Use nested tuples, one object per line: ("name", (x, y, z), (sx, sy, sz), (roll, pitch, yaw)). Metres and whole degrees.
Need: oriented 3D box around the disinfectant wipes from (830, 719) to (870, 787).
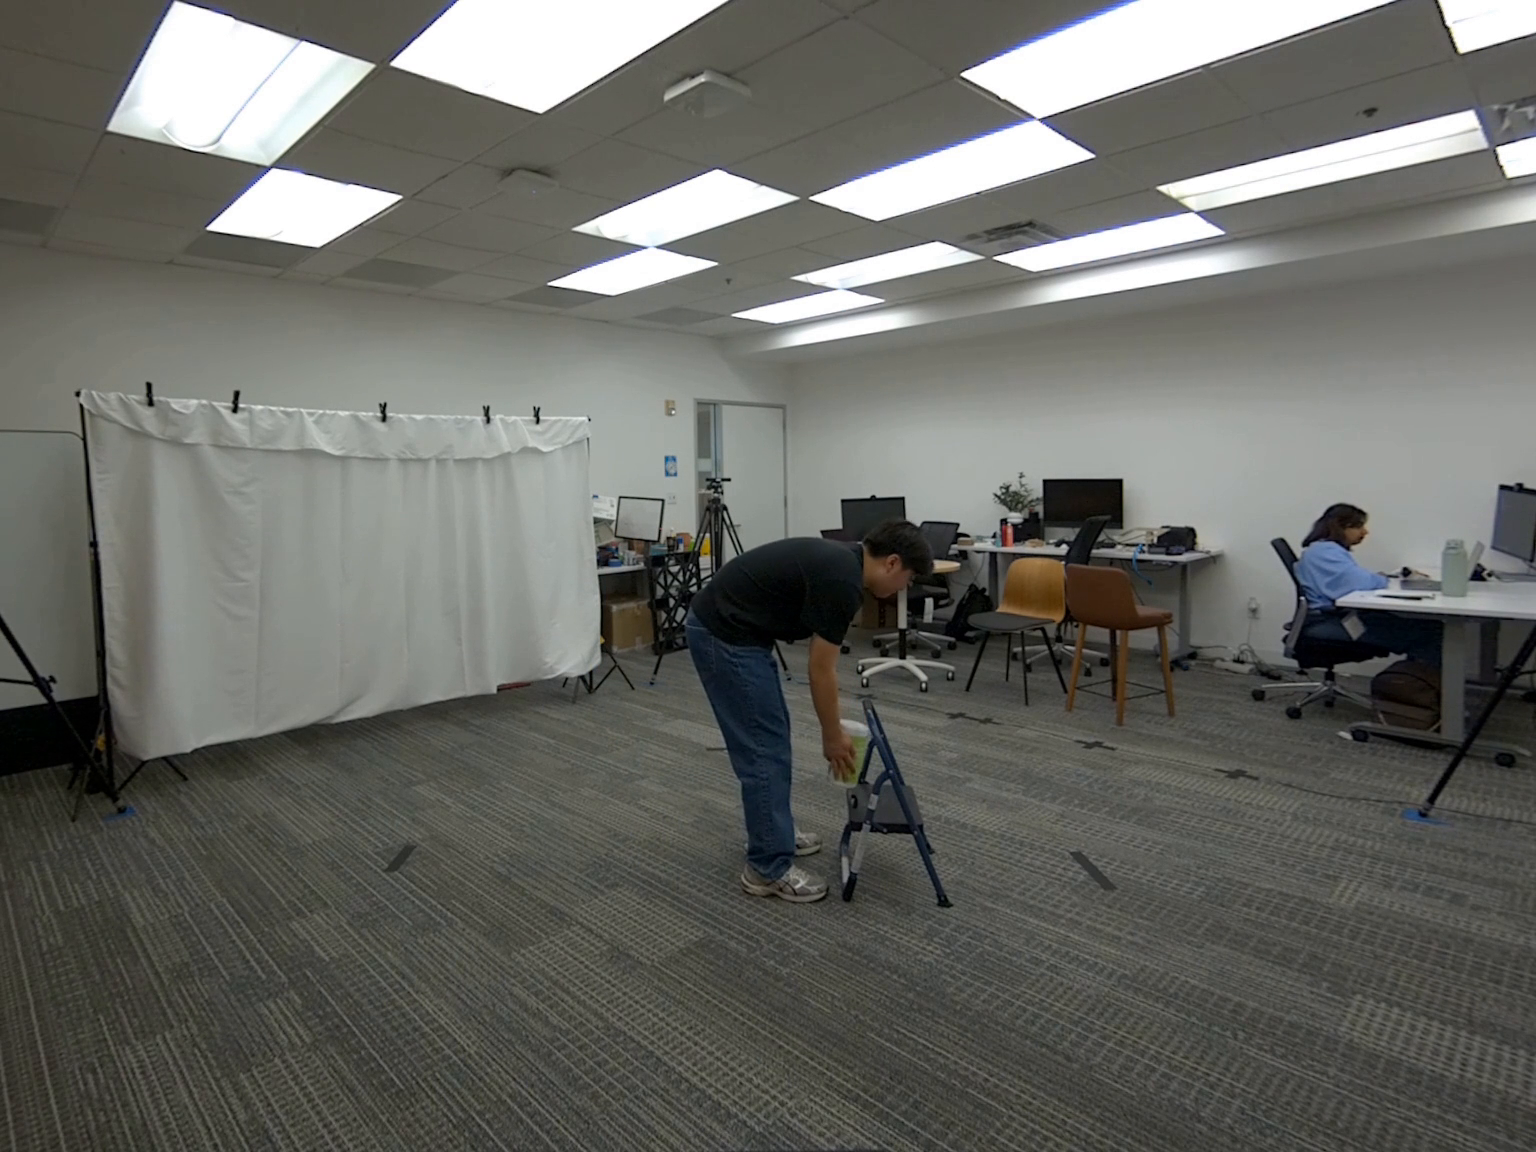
("disinfectant wipes", (0.285, 0.621, 2.996), (0.117, 0.216, 0.119), (11, 7, -3))
